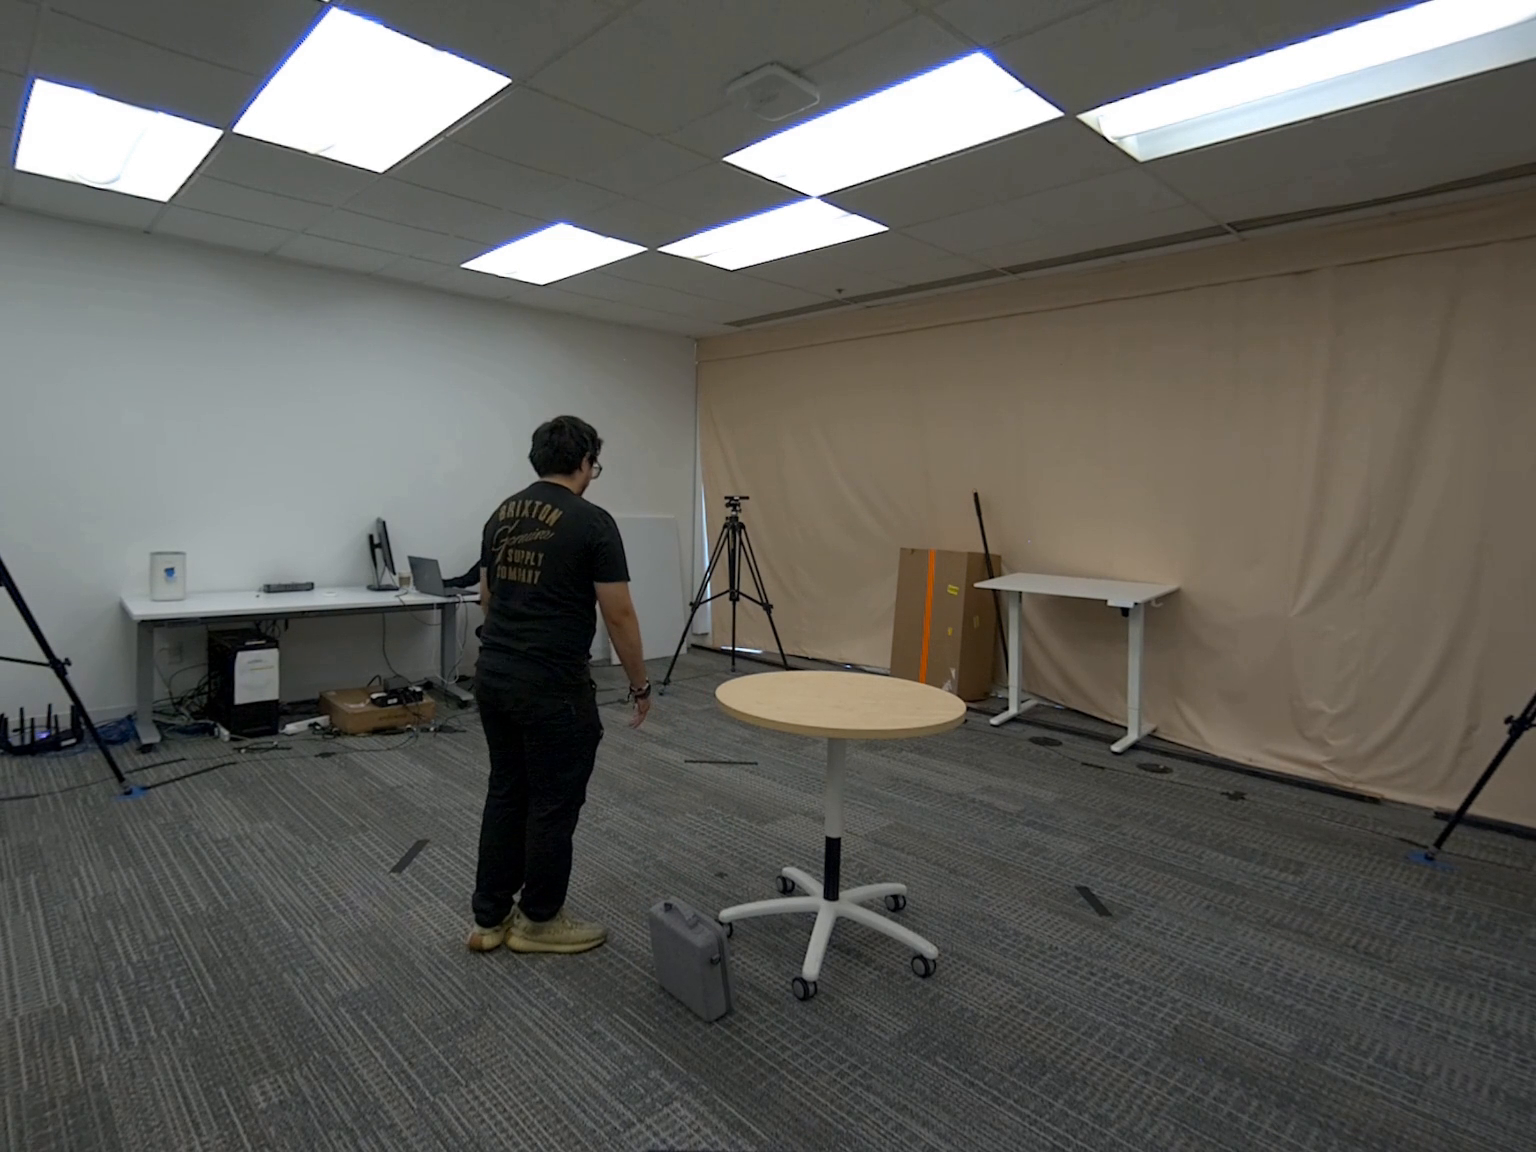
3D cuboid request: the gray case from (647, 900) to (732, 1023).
[{"bbox_3d":[-0.225,1.044,2.306,0.102,0.258,0.264,-15,15,-39],"label":"gray case"}]
